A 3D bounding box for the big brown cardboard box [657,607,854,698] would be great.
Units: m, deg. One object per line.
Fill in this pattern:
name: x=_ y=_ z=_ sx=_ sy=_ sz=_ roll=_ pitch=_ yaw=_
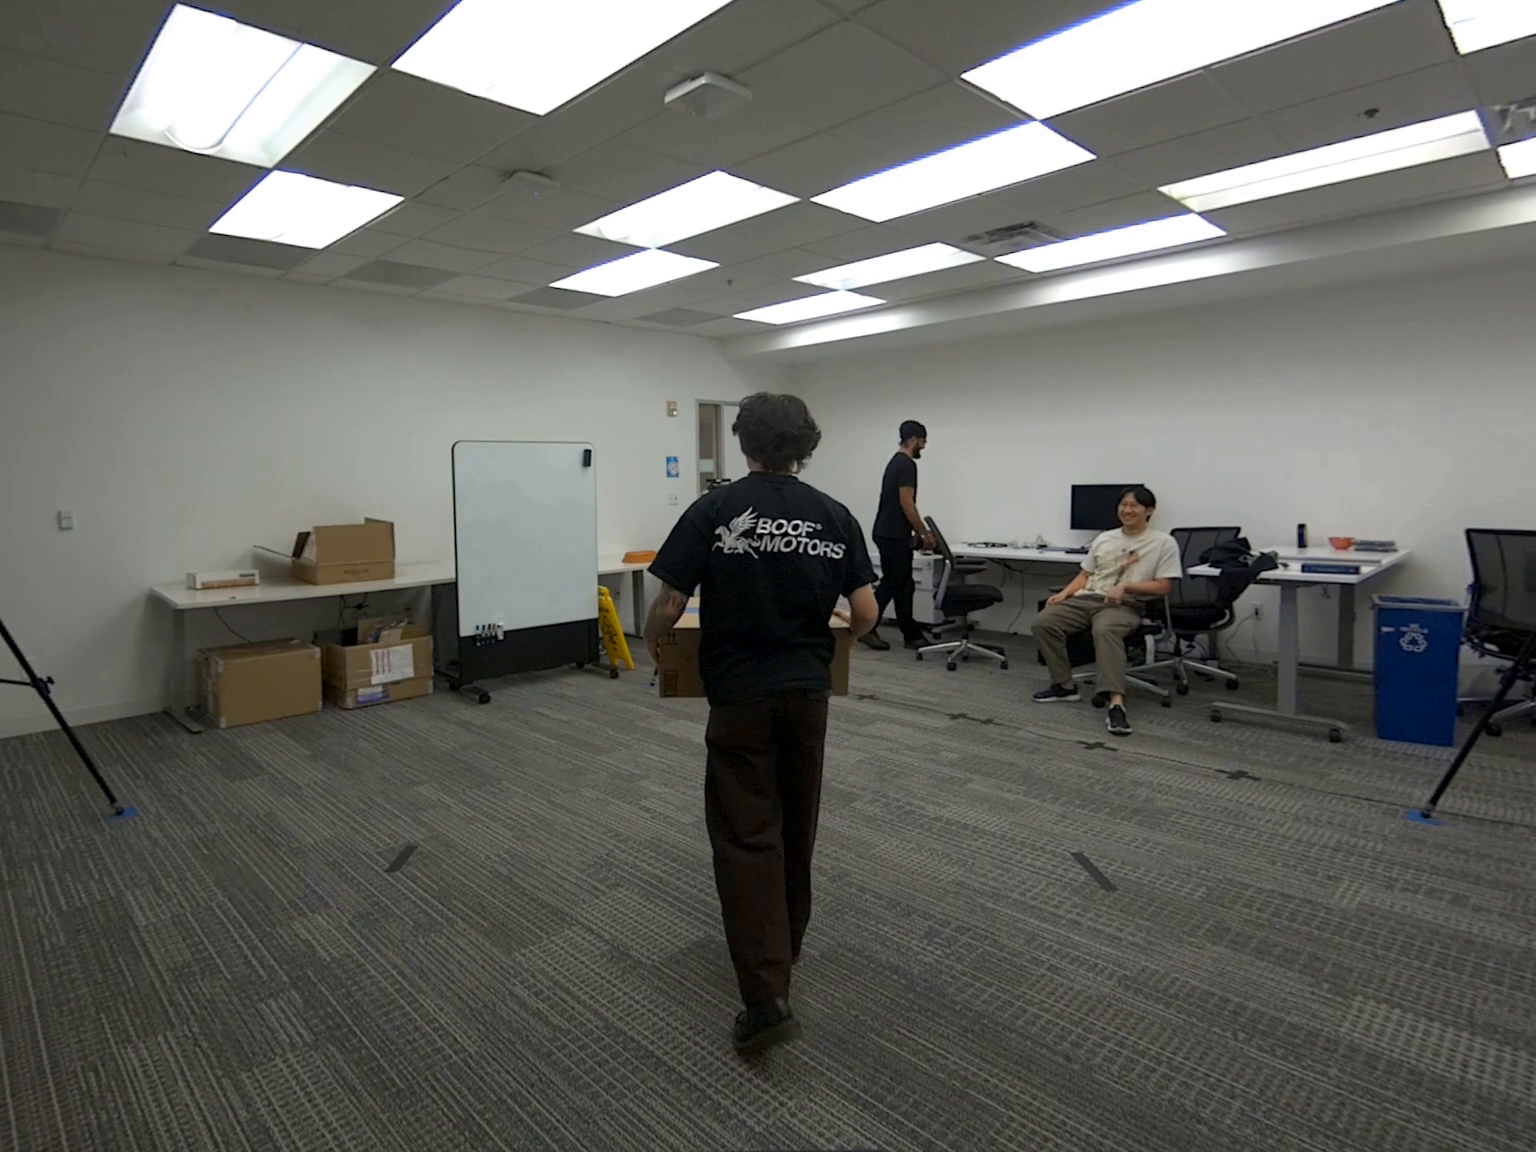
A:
big brown cardboard box: x=-0.047 y=0.212 z=2.698 sx=0.583 sy=0.231 sz=0.425 roll=-2 pitch=10 yaw=-10
